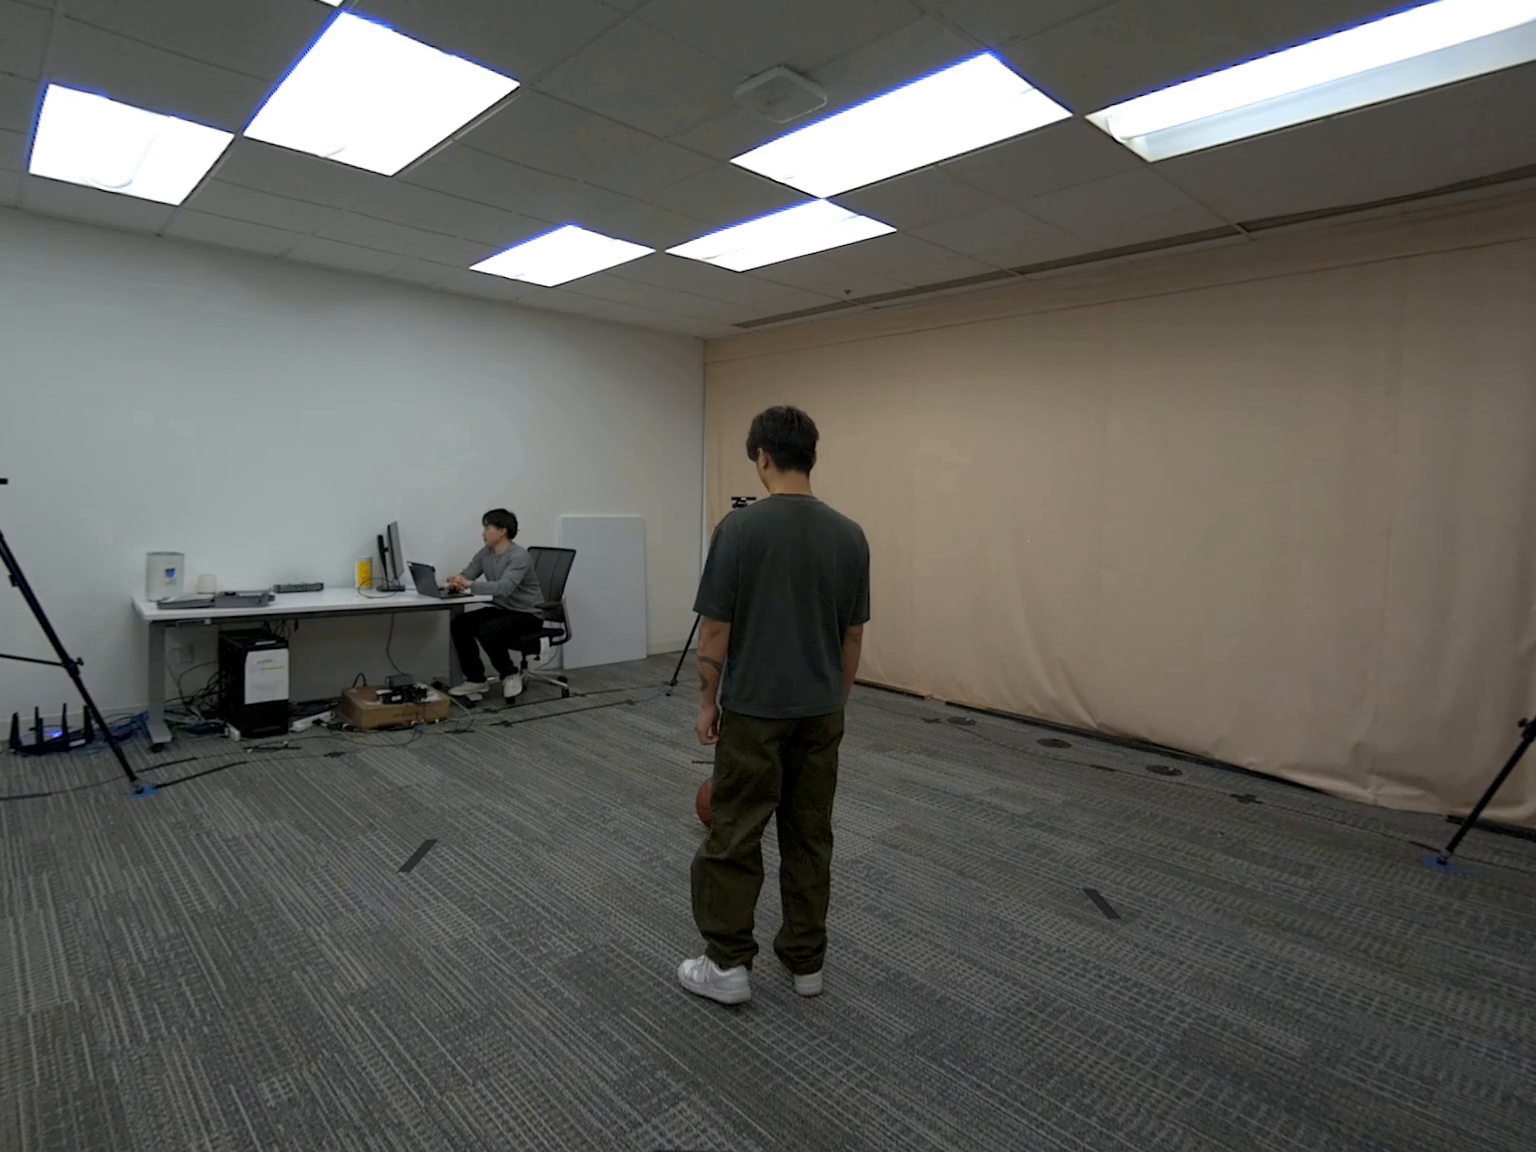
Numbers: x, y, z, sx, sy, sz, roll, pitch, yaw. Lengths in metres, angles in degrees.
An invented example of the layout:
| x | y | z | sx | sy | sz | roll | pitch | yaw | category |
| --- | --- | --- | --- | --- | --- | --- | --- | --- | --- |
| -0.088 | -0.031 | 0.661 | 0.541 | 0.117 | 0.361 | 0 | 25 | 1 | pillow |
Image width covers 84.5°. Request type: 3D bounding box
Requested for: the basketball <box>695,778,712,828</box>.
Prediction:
| x | y | z | sx | sy | sz | roll | pitch | yaw | category |
| --- | --- | --- | --- | --- | --- | --- | --- | --- | --- |
| -0.196 | 0.951 | 3.521 | 0.236 | 0.235 | 0.237 | 1 | 4 | -1 | basketball |
